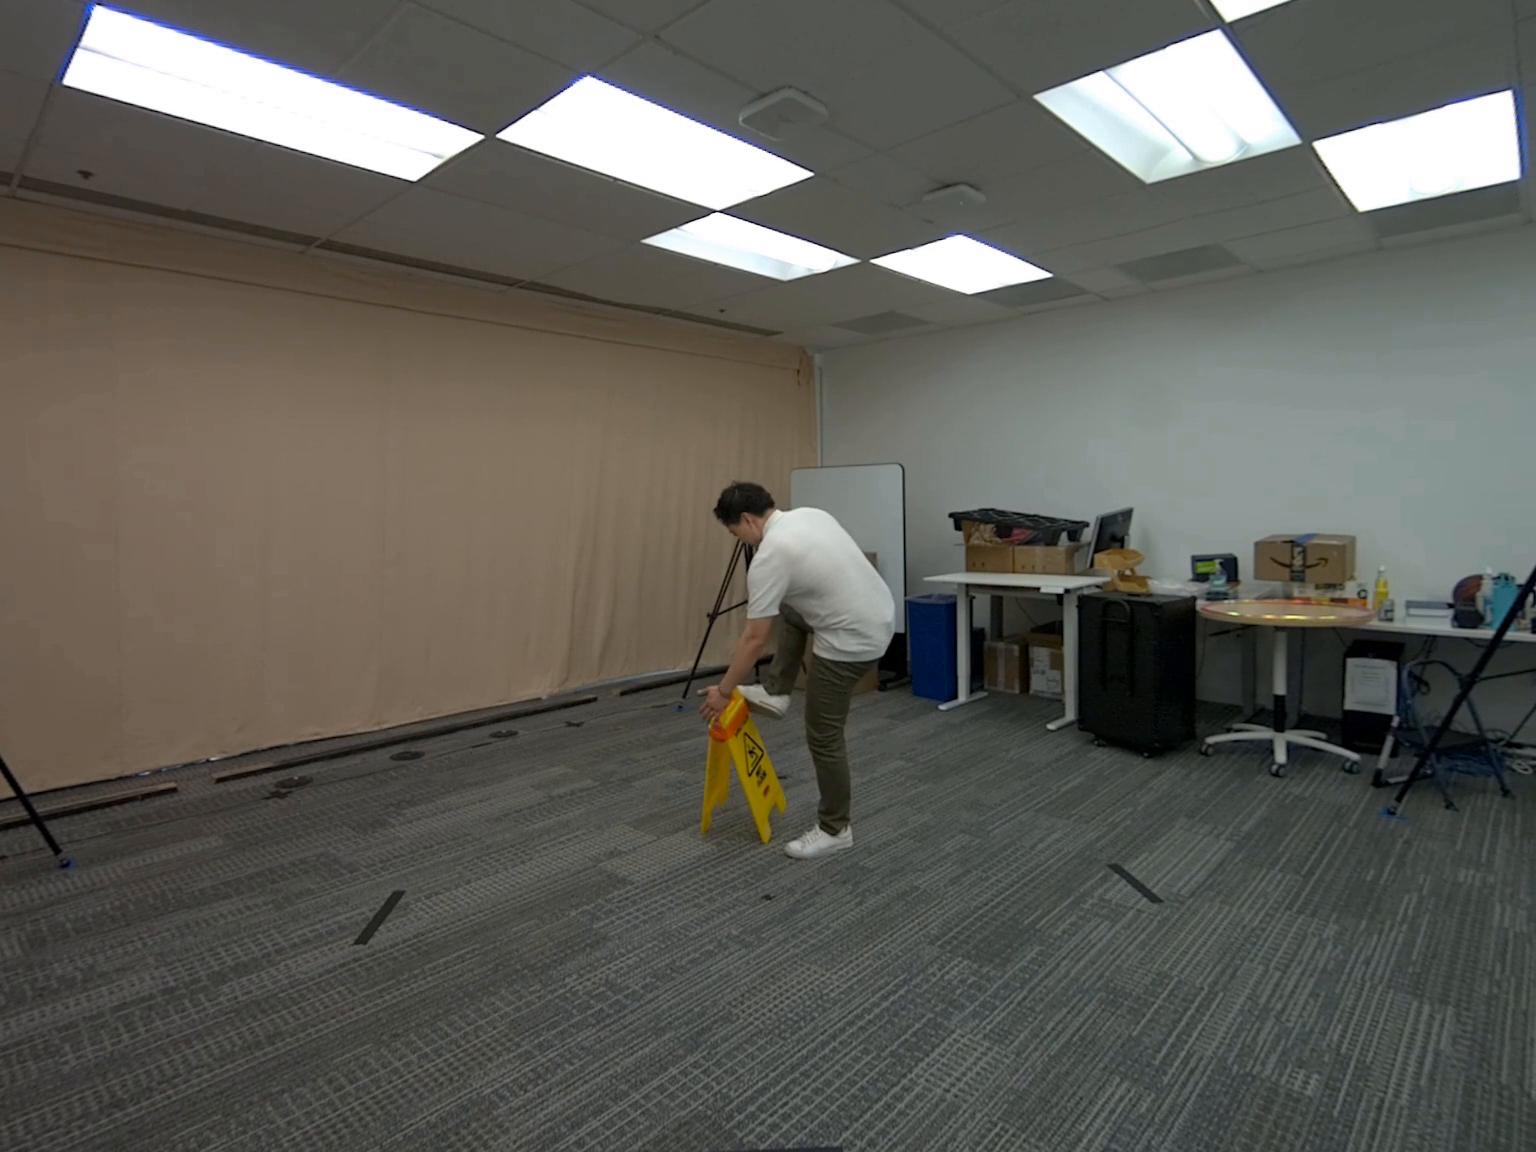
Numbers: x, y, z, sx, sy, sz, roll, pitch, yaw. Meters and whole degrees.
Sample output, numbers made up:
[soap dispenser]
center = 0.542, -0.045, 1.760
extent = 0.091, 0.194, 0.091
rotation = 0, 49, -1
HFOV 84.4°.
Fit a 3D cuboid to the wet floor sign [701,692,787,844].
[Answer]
[wet floor sign]
center = -0.142, 0.754, 3.526
extent = 0.296, 0.637, 0.279
rotation = 0, 20, 23
